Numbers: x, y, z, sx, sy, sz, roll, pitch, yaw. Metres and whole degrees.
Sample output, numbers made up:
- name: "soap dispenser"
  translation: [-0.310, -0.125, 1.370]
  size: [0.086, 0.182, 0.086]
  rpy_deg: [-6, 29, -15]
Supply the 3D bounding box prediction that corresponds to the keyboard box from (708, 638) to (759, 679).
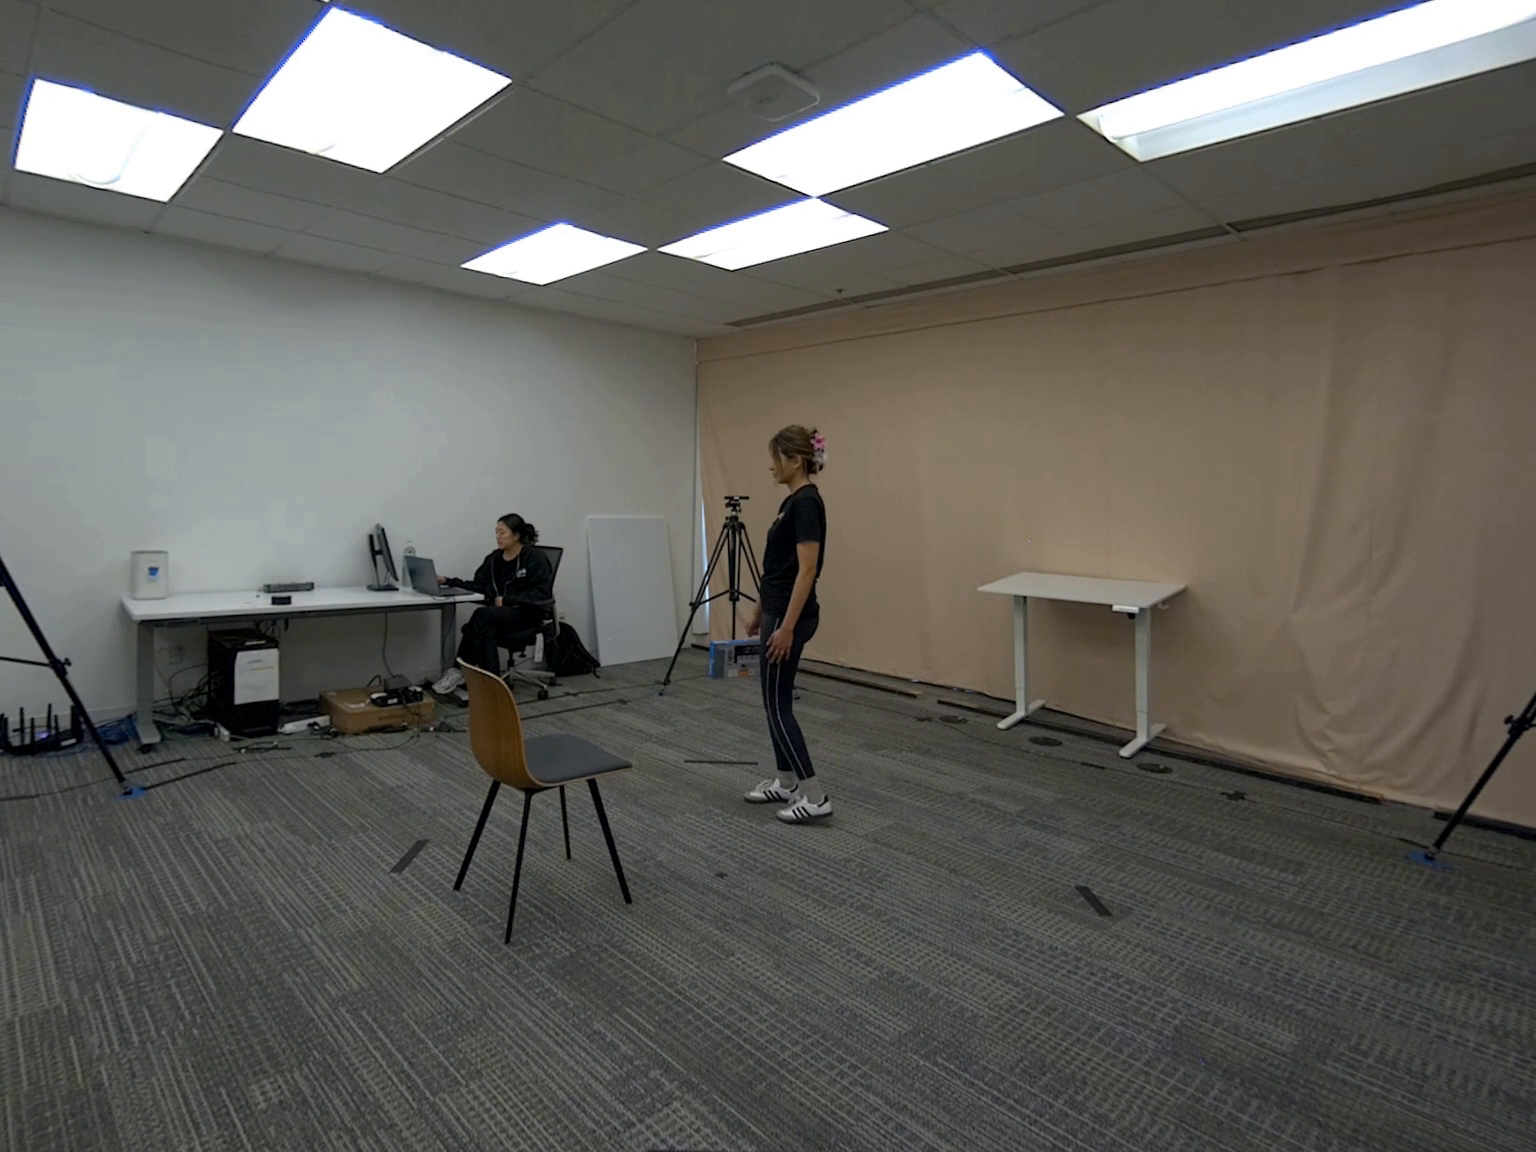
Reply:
- name: "keyboard box"
  translation: [-0.074, 0.396, 4.070]
  size: [0.430, 0.175, 0.060]
  rpy_deg: [-1, 7, -20]
